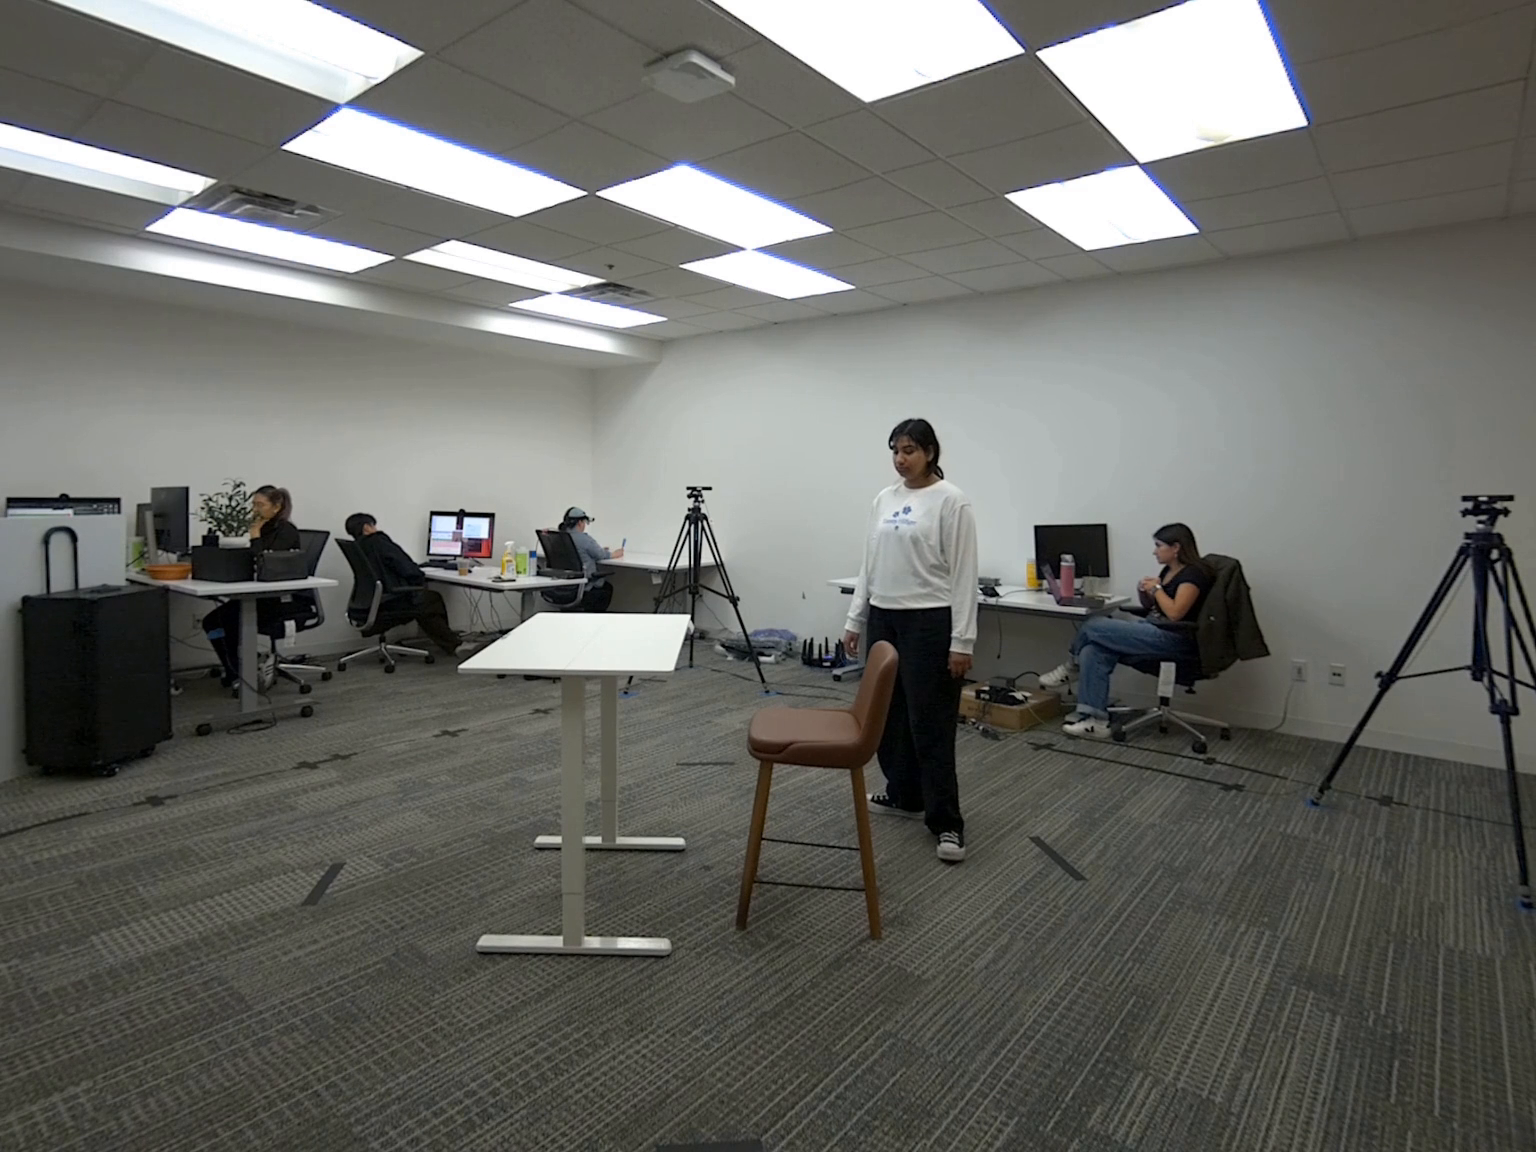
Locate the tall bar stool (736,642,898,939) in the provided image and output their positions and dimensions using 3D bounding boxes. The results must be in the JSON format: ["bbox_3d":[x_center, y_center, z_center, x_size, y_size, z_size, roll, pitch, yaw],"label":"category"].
[{"bbox_3d":[0.156,0.667,2.823,0.472,0.887,0.454,4,4,8],"label":"tall bar stool"}]
